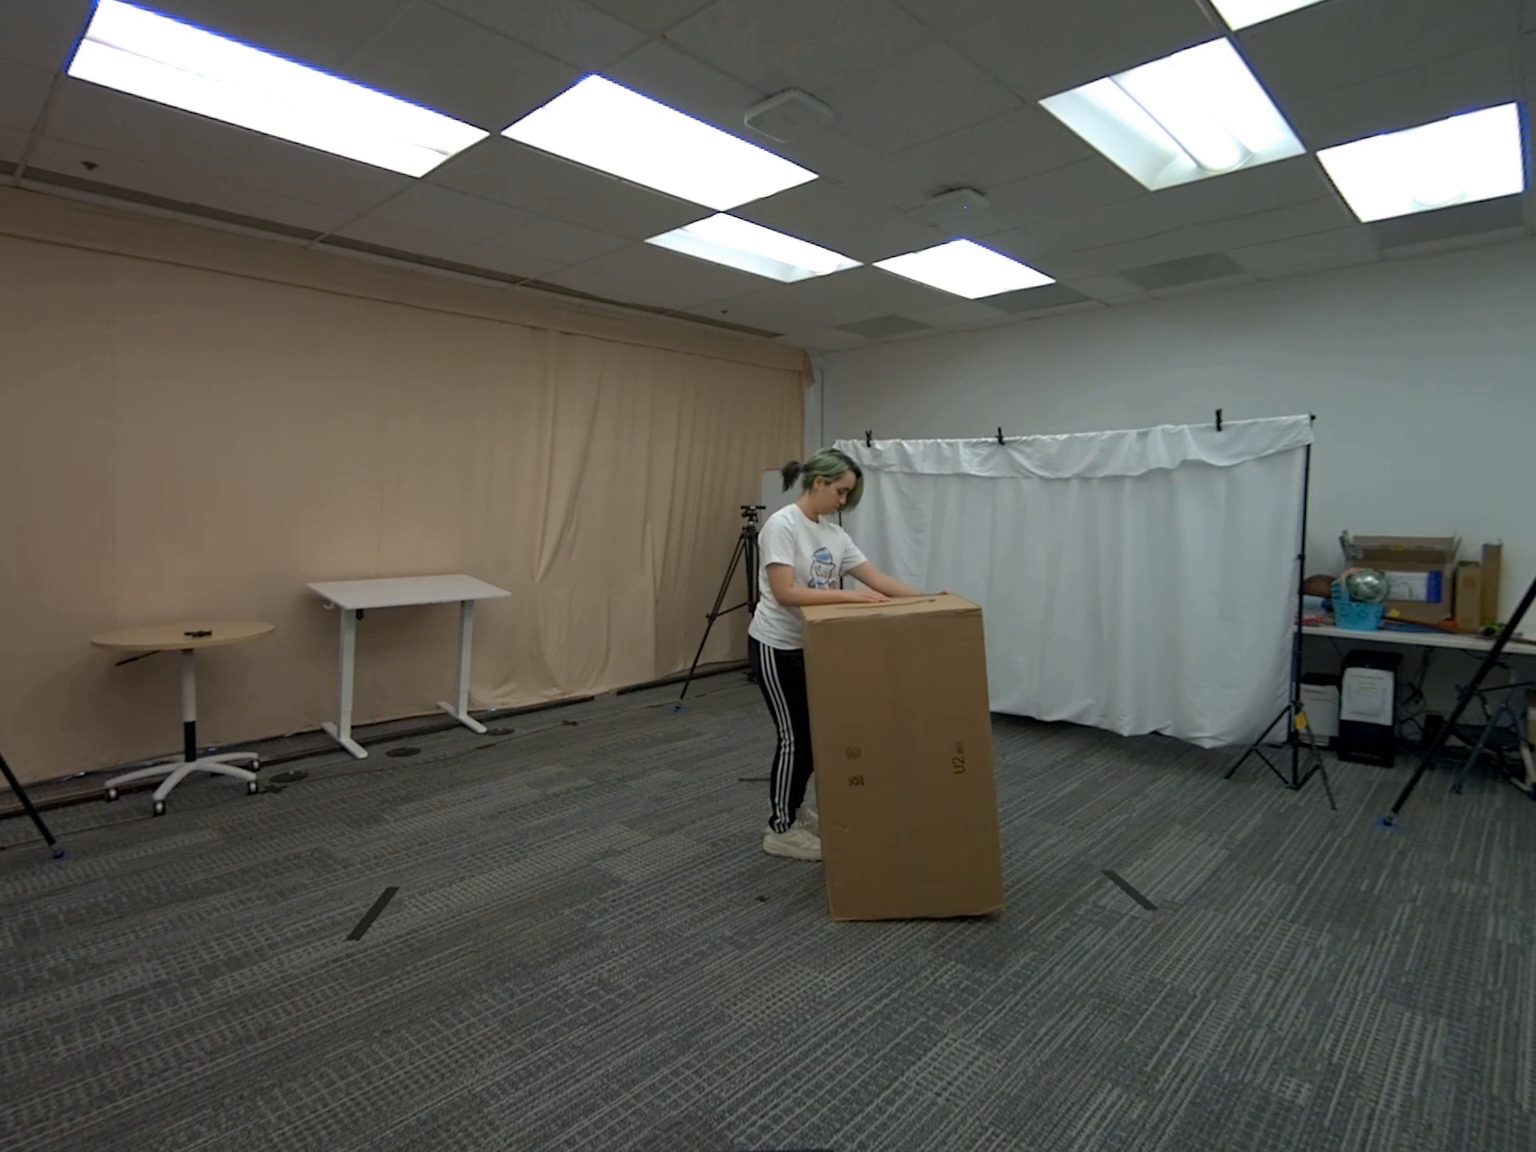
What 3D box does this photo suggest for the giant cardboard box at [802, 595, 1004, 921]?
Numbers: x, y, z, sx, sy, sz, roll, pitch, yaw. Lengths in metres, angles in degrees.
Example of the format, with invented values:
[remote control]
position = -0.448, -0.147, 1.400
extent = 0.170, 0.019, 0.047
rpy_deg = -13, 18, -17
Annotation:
[giant cardboard box]
position = 0.459, 0.619, 2.989
extent = 0.579, 1.023, 0.426
rpy_deg = -5, 4, 3
